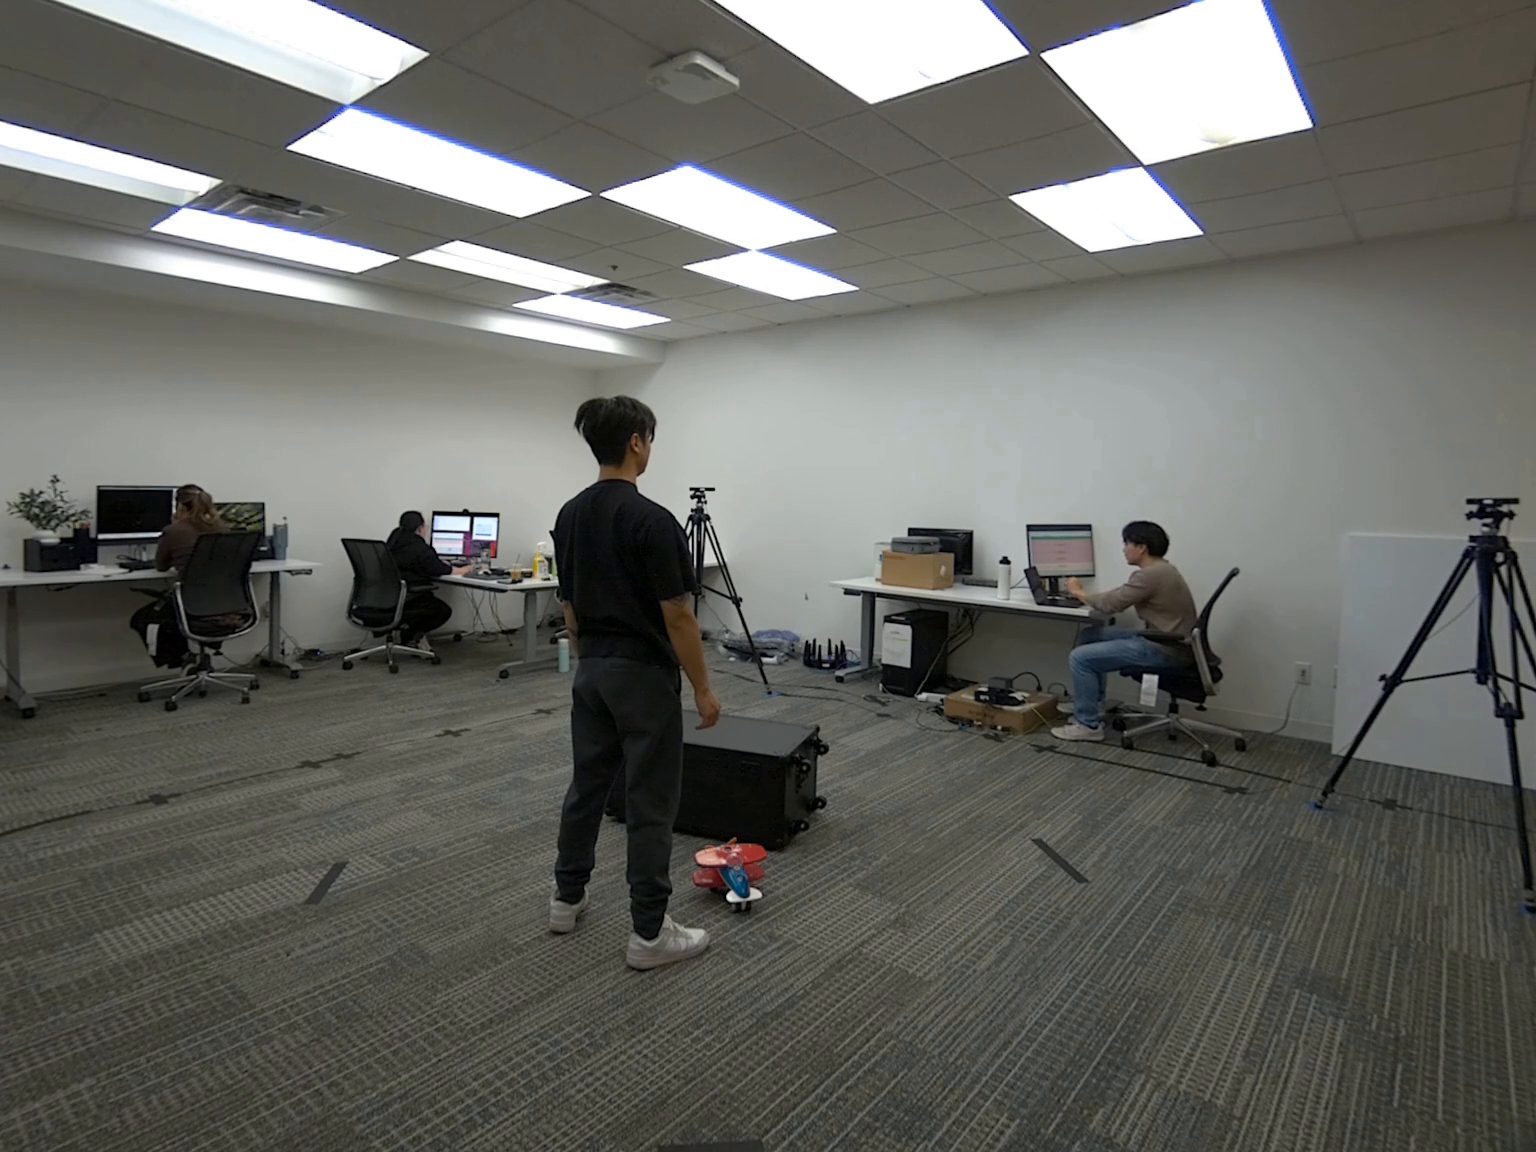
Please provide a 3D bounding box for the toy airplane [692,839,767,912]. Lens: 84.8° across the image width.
[{"bbox_3d":[-0.108,1.012,2.894,0.268,0.156,0.243,4,6,41],"label":"toy airplane"}]
